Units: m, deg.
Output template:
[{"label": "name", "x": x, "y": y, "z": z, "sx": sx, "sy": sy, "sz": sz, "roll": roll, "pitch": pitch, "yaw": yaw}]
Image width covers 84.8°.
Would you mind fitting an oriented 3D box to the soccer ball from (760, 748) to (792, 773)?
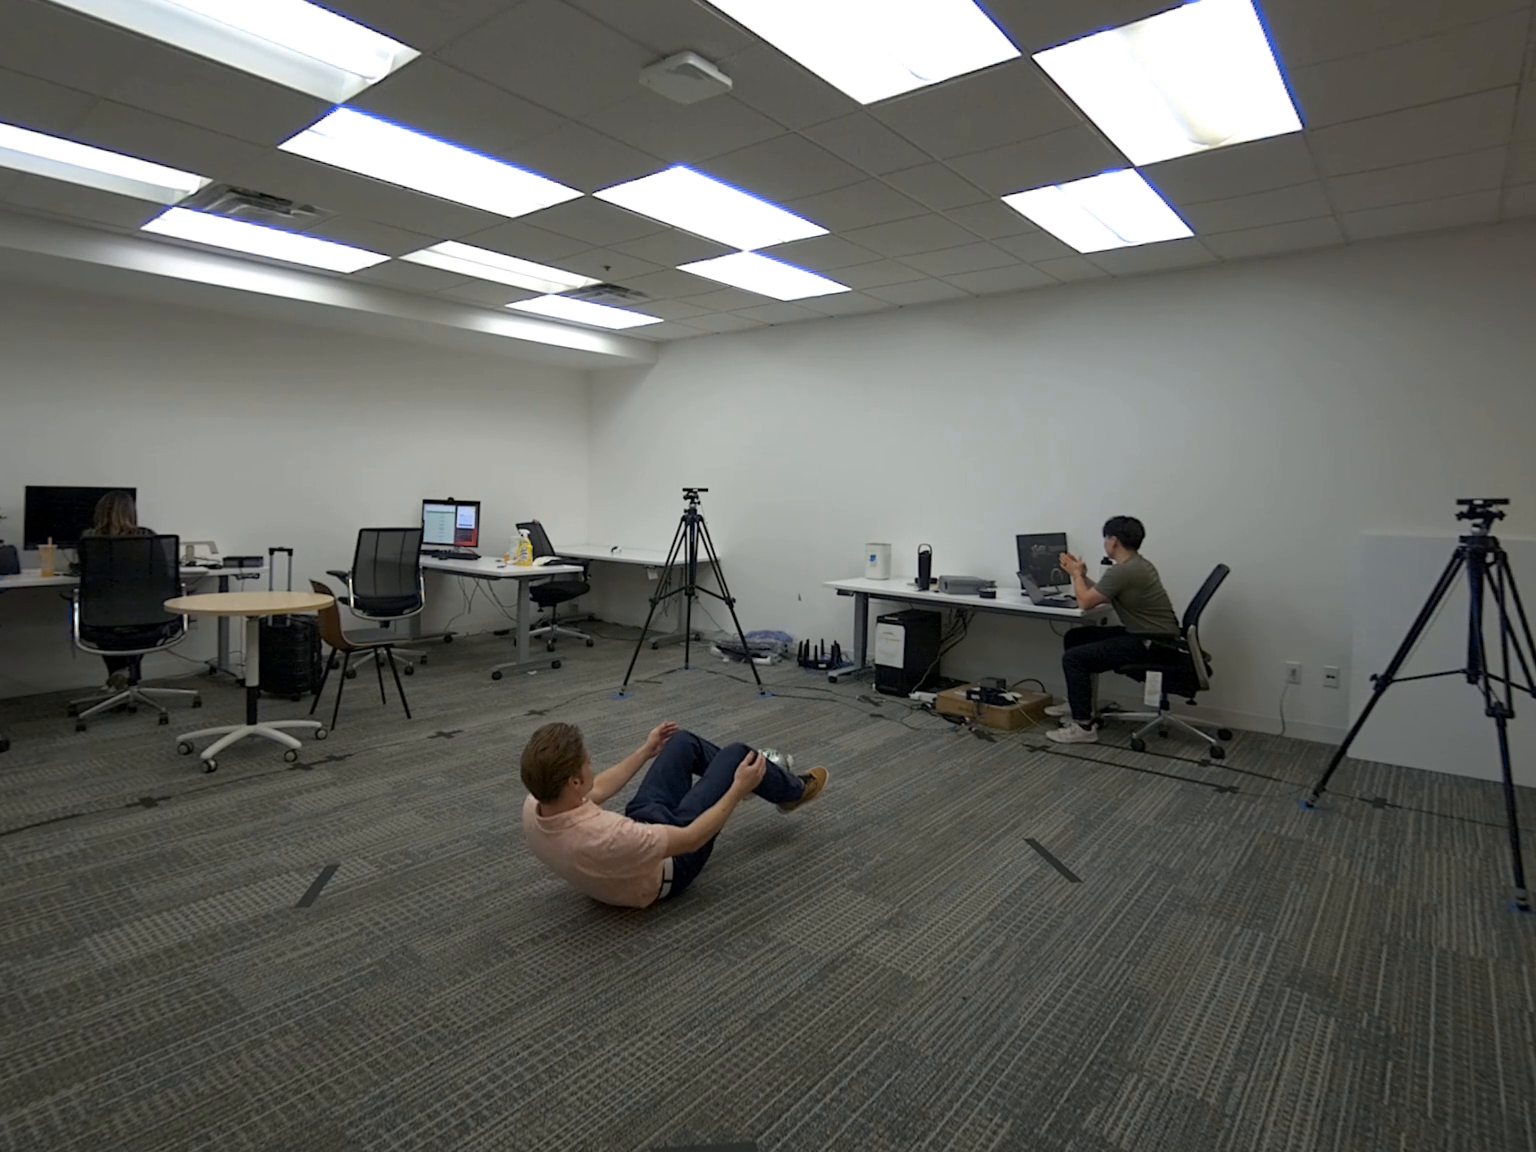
[{"label": "soccer ball", "x": -0.008, "y": 0.792, "z": 3.416, "sx": 0.187, "sy": 0.187, "sz": 0.188, "roll": 1, "pitch": 4, "yaw": -2}]
